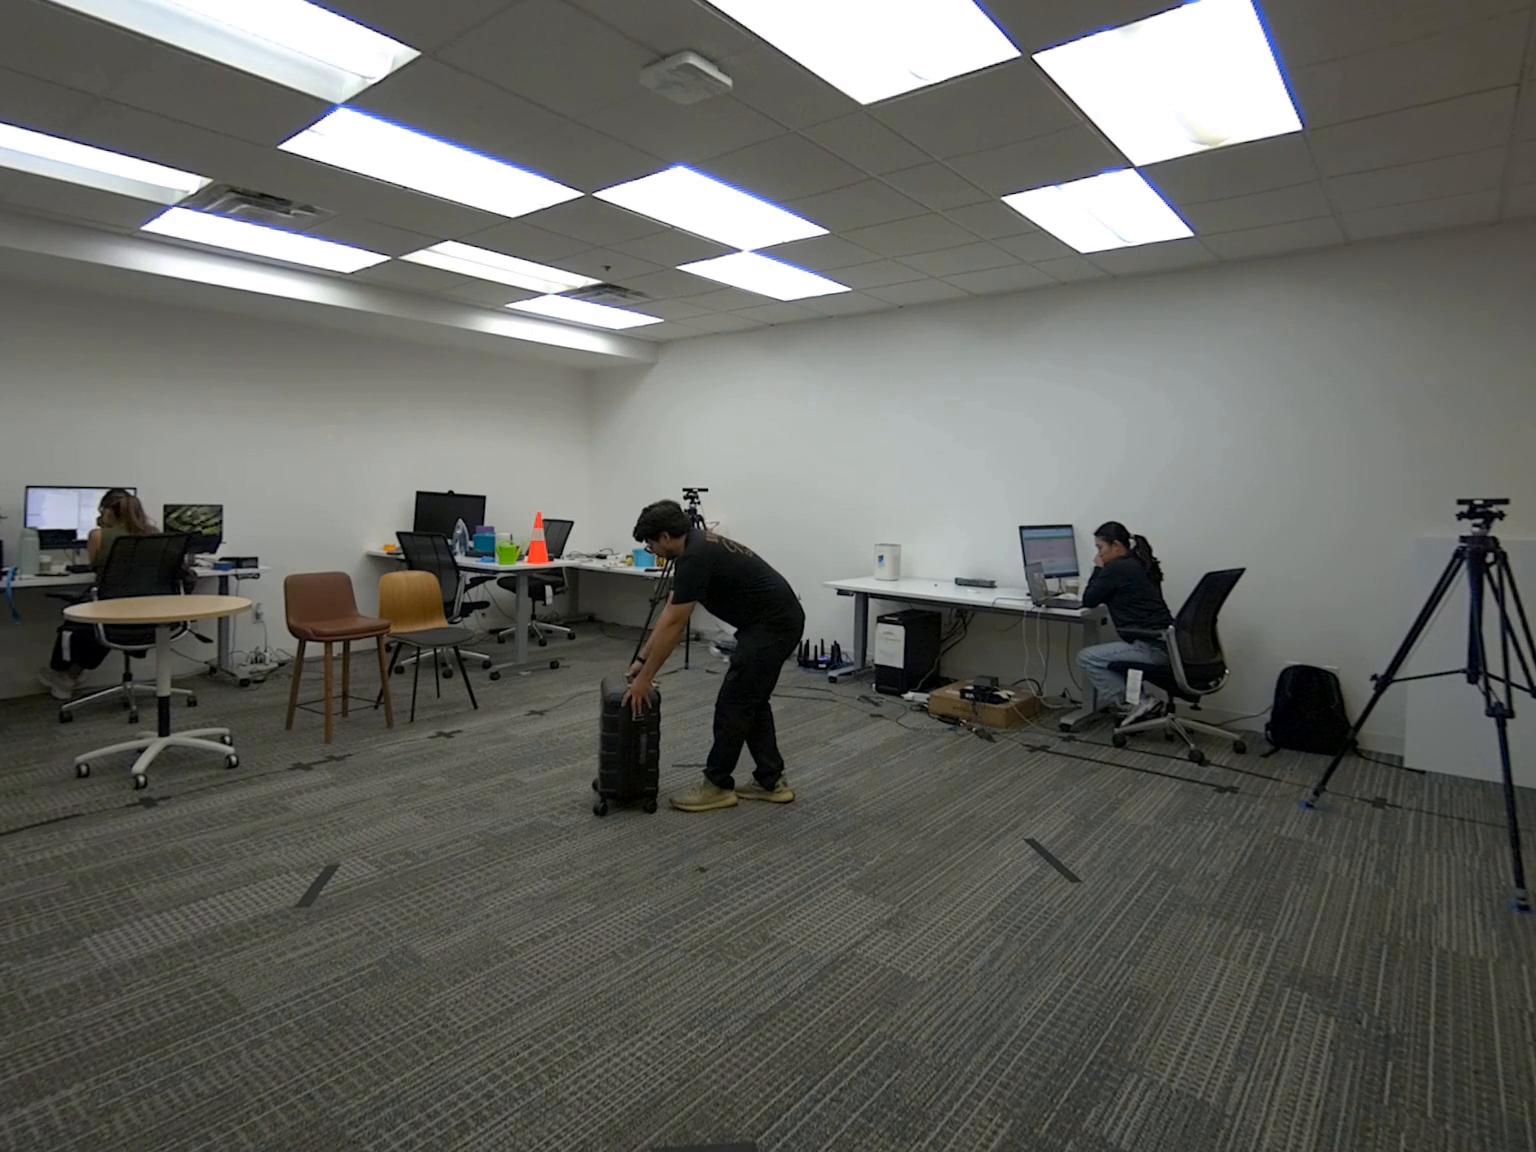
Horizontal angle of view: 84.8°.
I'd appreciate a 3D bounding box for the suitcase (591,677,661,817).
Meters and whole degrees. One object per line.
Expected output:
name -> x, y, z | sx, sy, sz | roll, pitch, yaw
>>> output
suitcase -> -0.636, 0.729, 3.790 | 0.245, 0.548, 0.381 | 0, 2, -13
